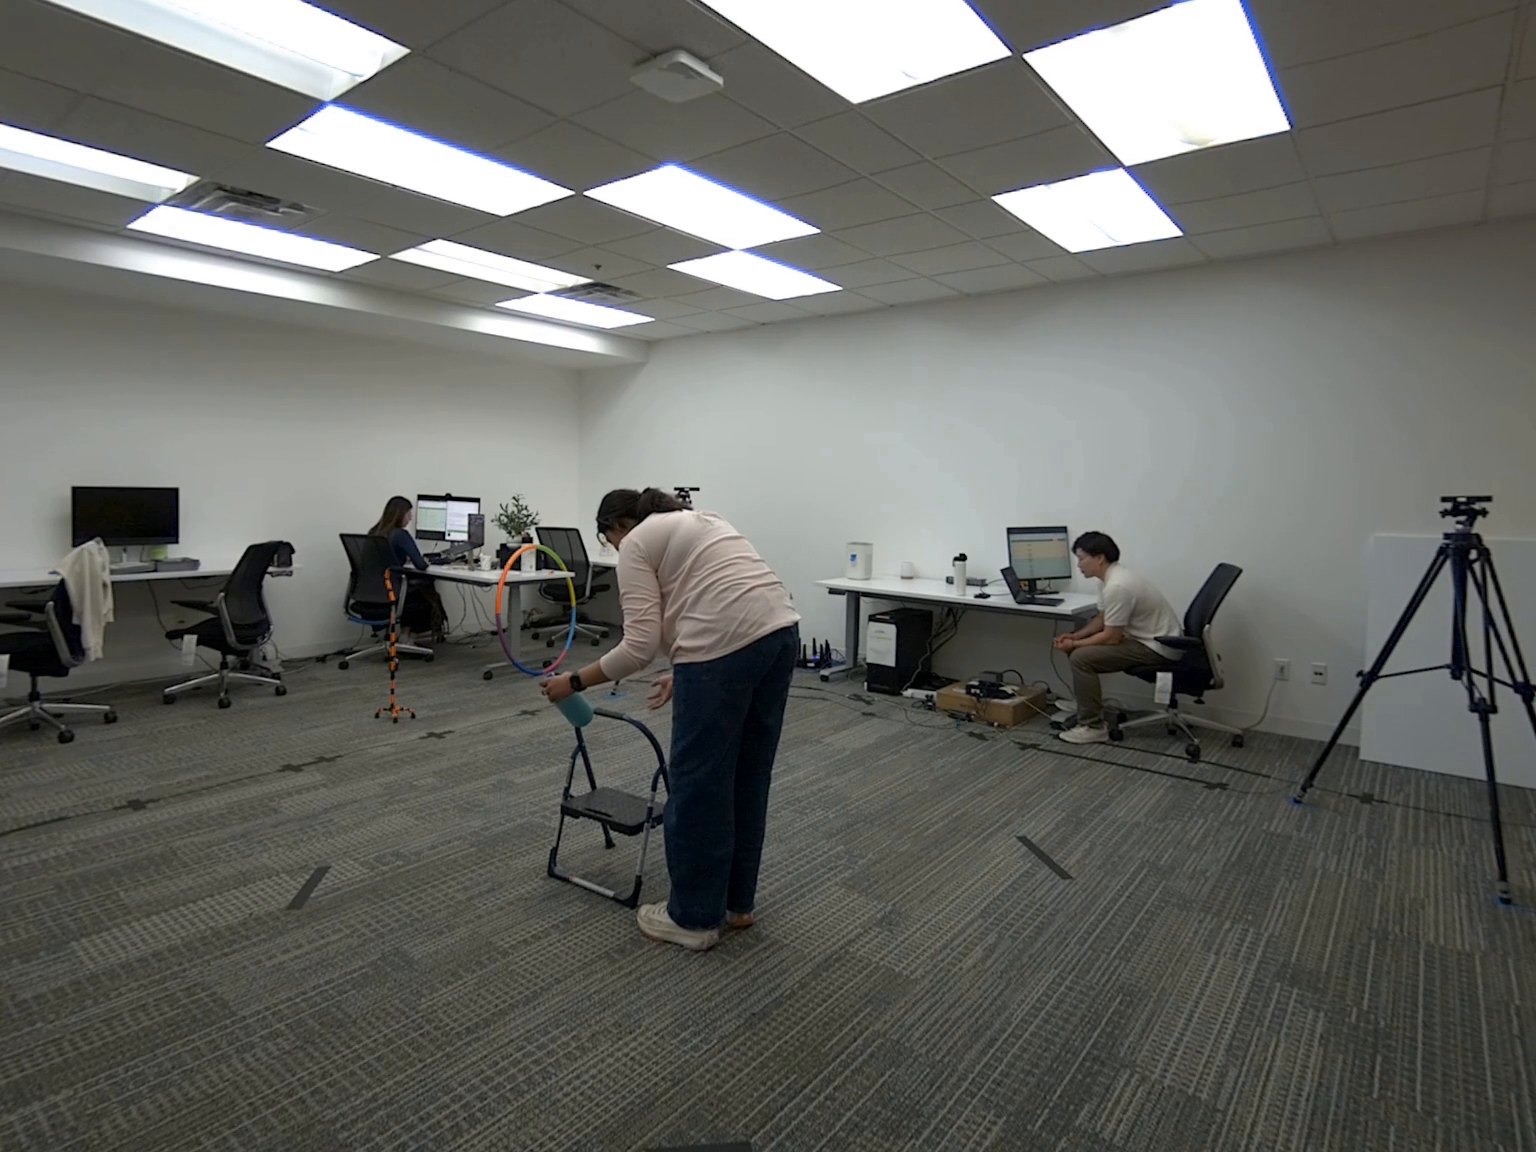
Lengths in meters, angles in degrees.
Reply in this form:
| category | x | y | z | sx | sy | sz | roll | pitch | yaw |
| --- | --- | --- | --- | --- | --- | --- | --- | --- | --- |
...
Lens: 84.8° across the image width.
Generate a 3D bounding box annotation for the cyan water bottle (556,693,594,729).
| category | x | y | z | sx | sy | sz | roll | pitch | yaw |
| --- | --- | --- | --- | --- | --- | --- | --- | --- | --- |
| cyan water bottle | -0.662 | 0.403 | 2.794 | 0.093 | 0.094 | 0.274 | 2 | -32 | 12 |
